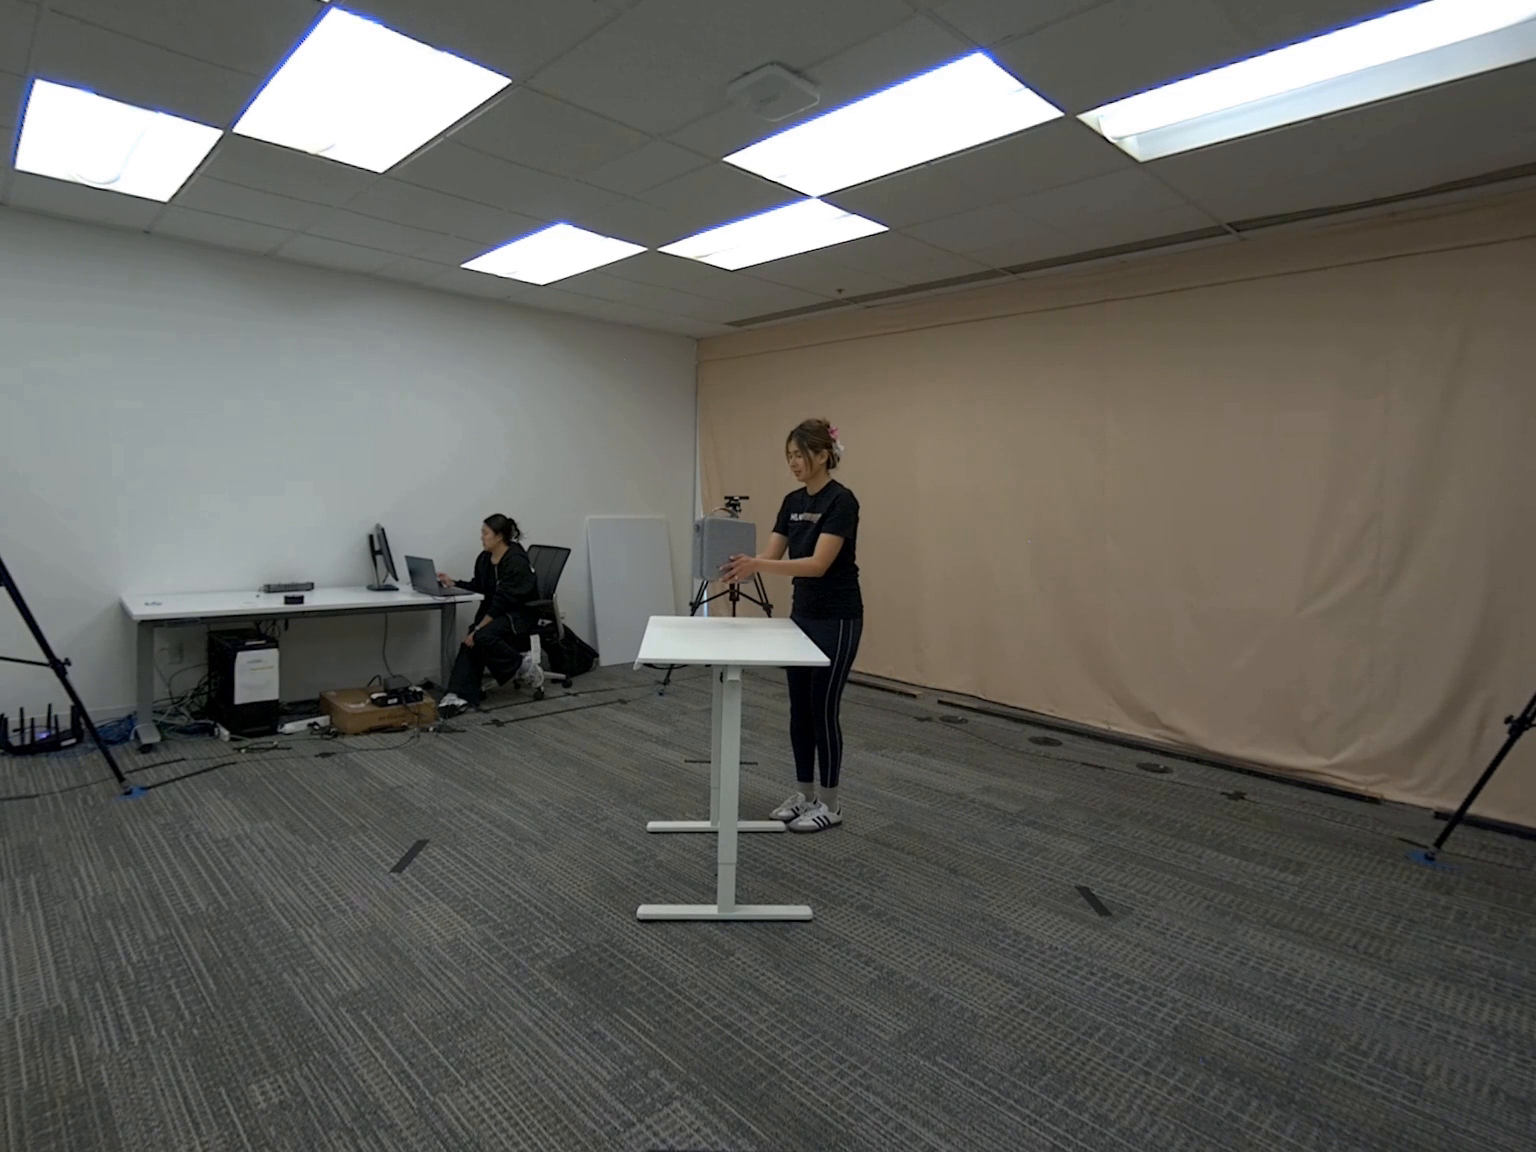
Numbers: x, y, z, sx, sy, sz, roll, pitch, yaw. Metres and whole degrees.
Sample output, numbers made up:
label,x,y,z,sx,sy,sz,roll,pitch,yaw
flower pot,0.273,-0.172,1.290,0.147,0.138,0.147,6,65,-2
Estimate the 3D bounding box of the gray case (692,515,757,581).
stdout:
label,x,y,z,sx,sy,sz,roll,pitch,yaw
gray case,-0.177,-0.108,3.348,0.251,0.261,0.106,5,-6,-35
